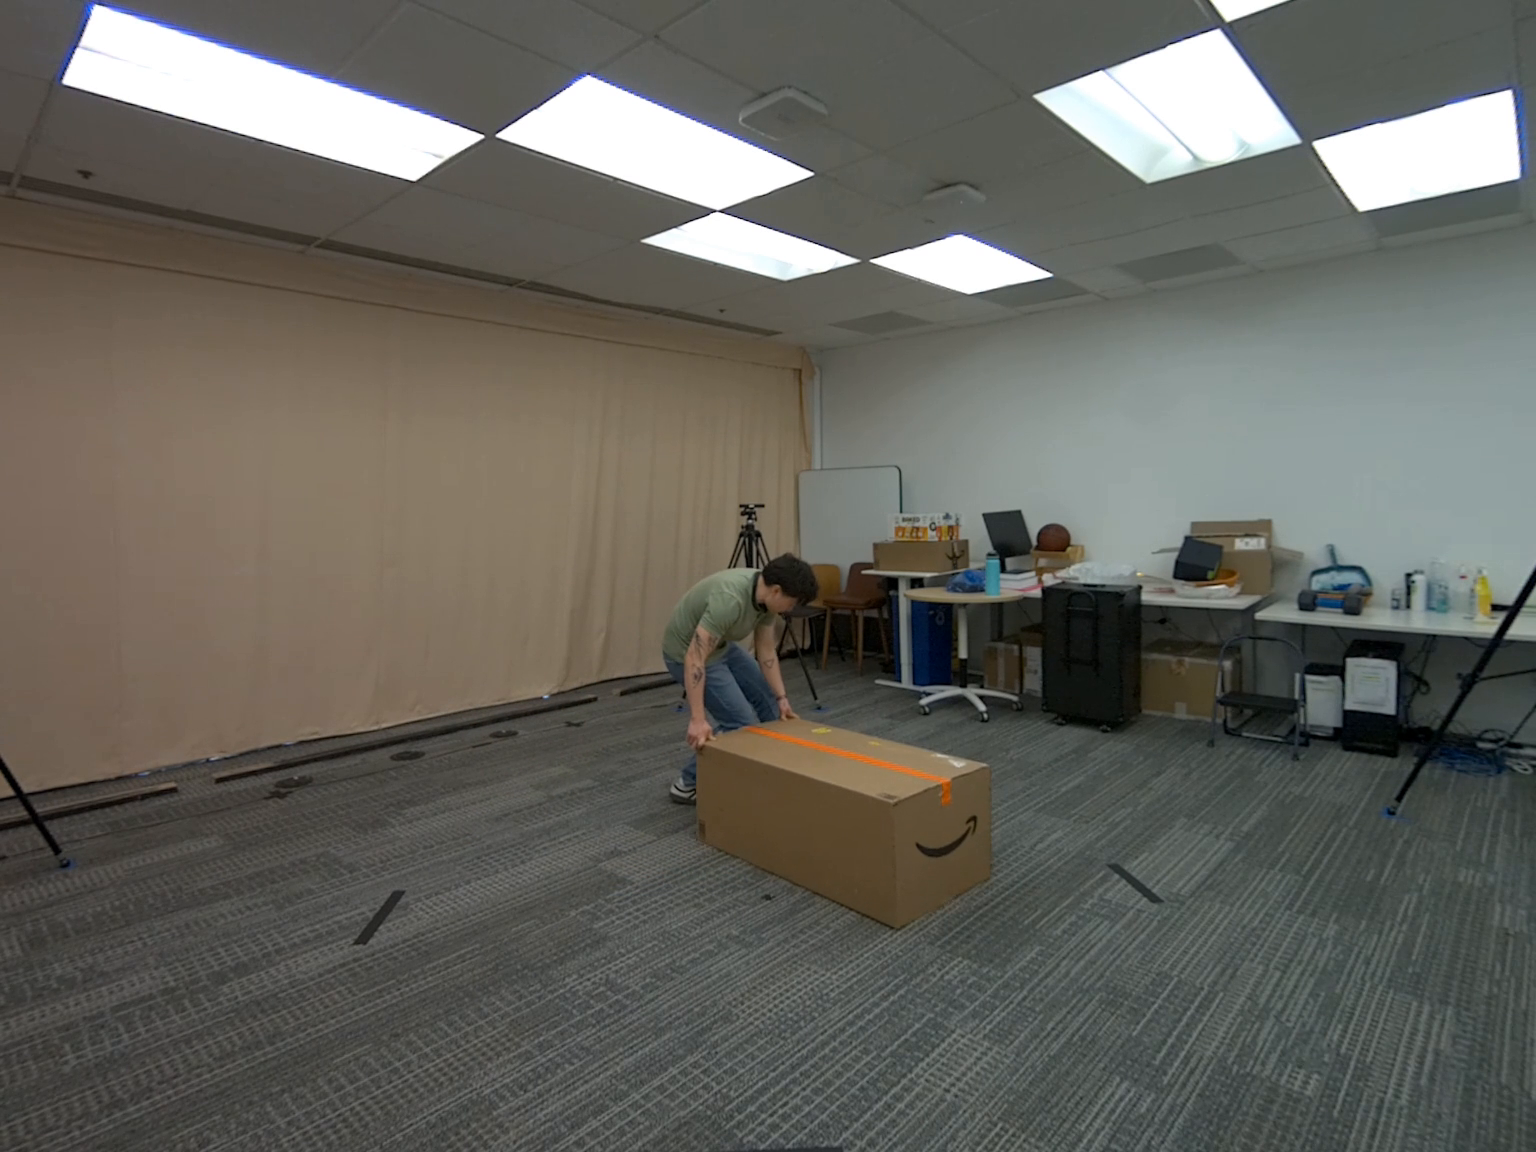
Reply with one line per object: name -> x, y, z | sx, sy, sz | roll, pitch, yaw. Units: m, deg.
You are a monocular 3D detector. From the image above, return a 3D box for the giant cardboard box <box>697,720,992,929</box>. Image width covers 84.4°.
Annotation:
giant cardboard box -> 0.270, 0.895, 3.288 | 0.560, 0.425, 1.060 | -3, 5, -42
